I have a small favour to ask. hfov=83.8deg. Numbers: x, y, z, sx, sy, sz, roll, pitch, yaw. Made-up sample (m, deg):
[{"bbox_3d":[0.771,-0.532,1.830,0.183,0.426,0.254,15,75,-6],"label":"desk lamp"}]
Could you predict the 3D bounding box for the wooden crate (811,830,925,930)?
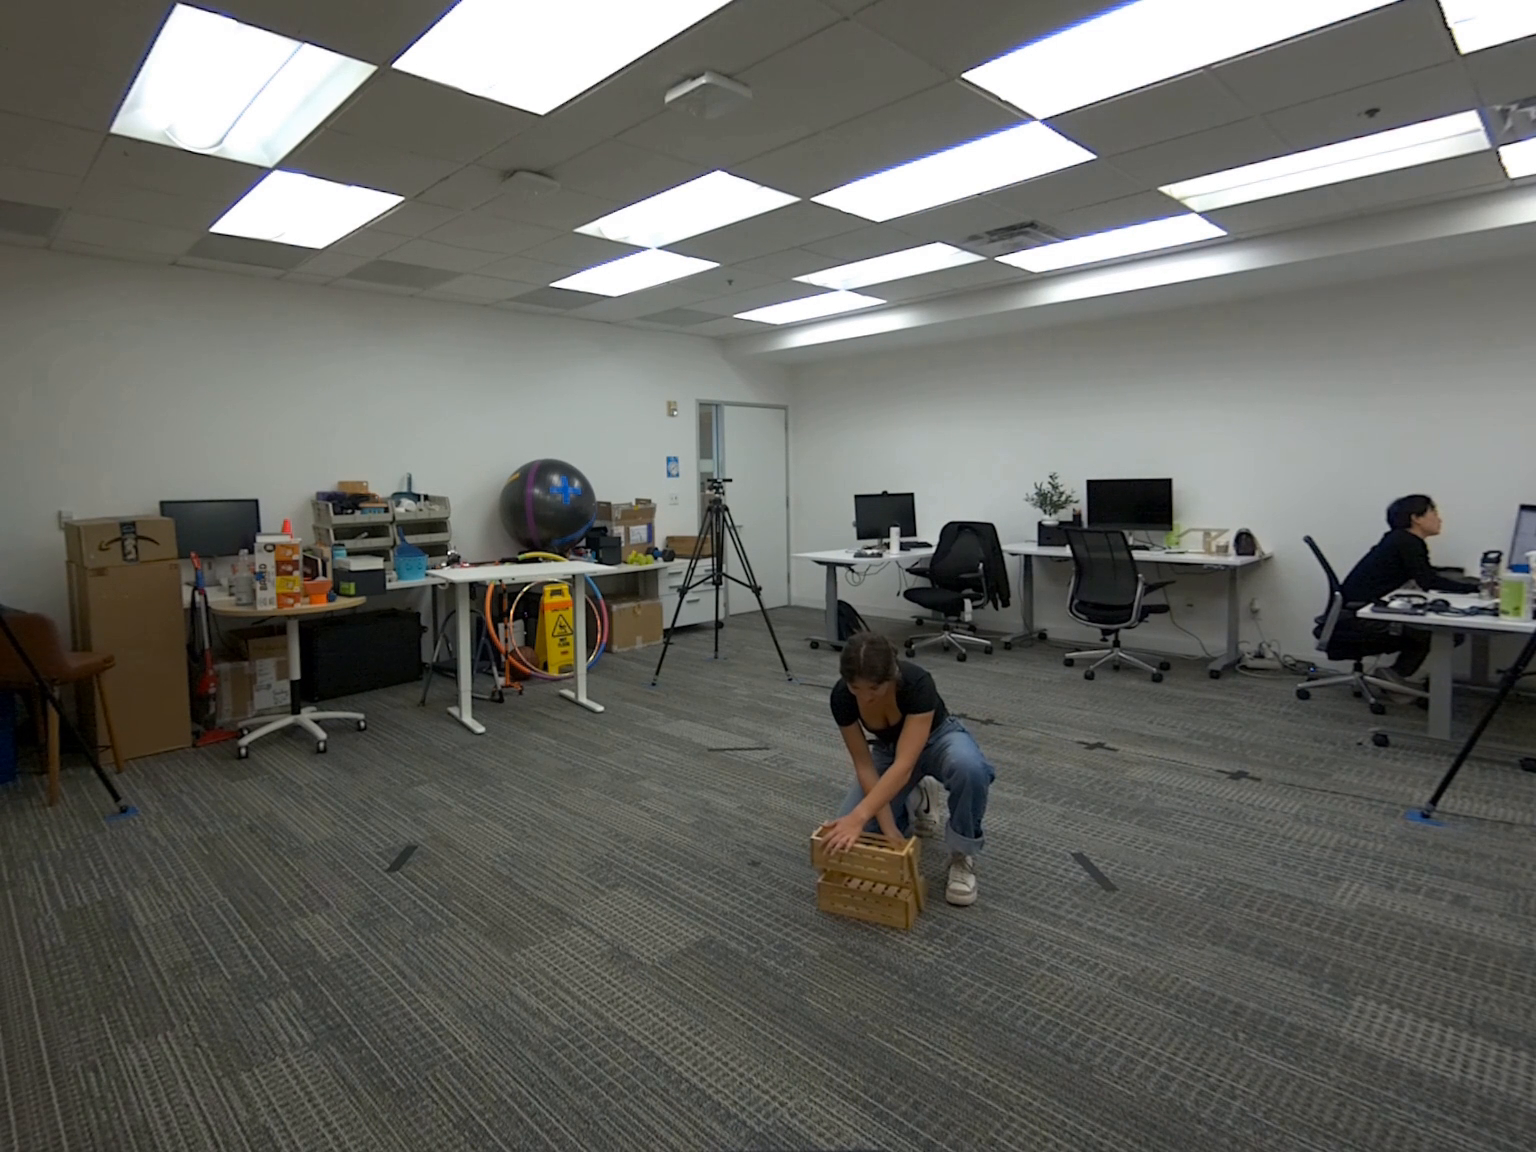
[{"bbox_3d":[0.336,0.939,2.778,0.332,0.272,0.296,0,5,25],"label":"wooden crate"}]
